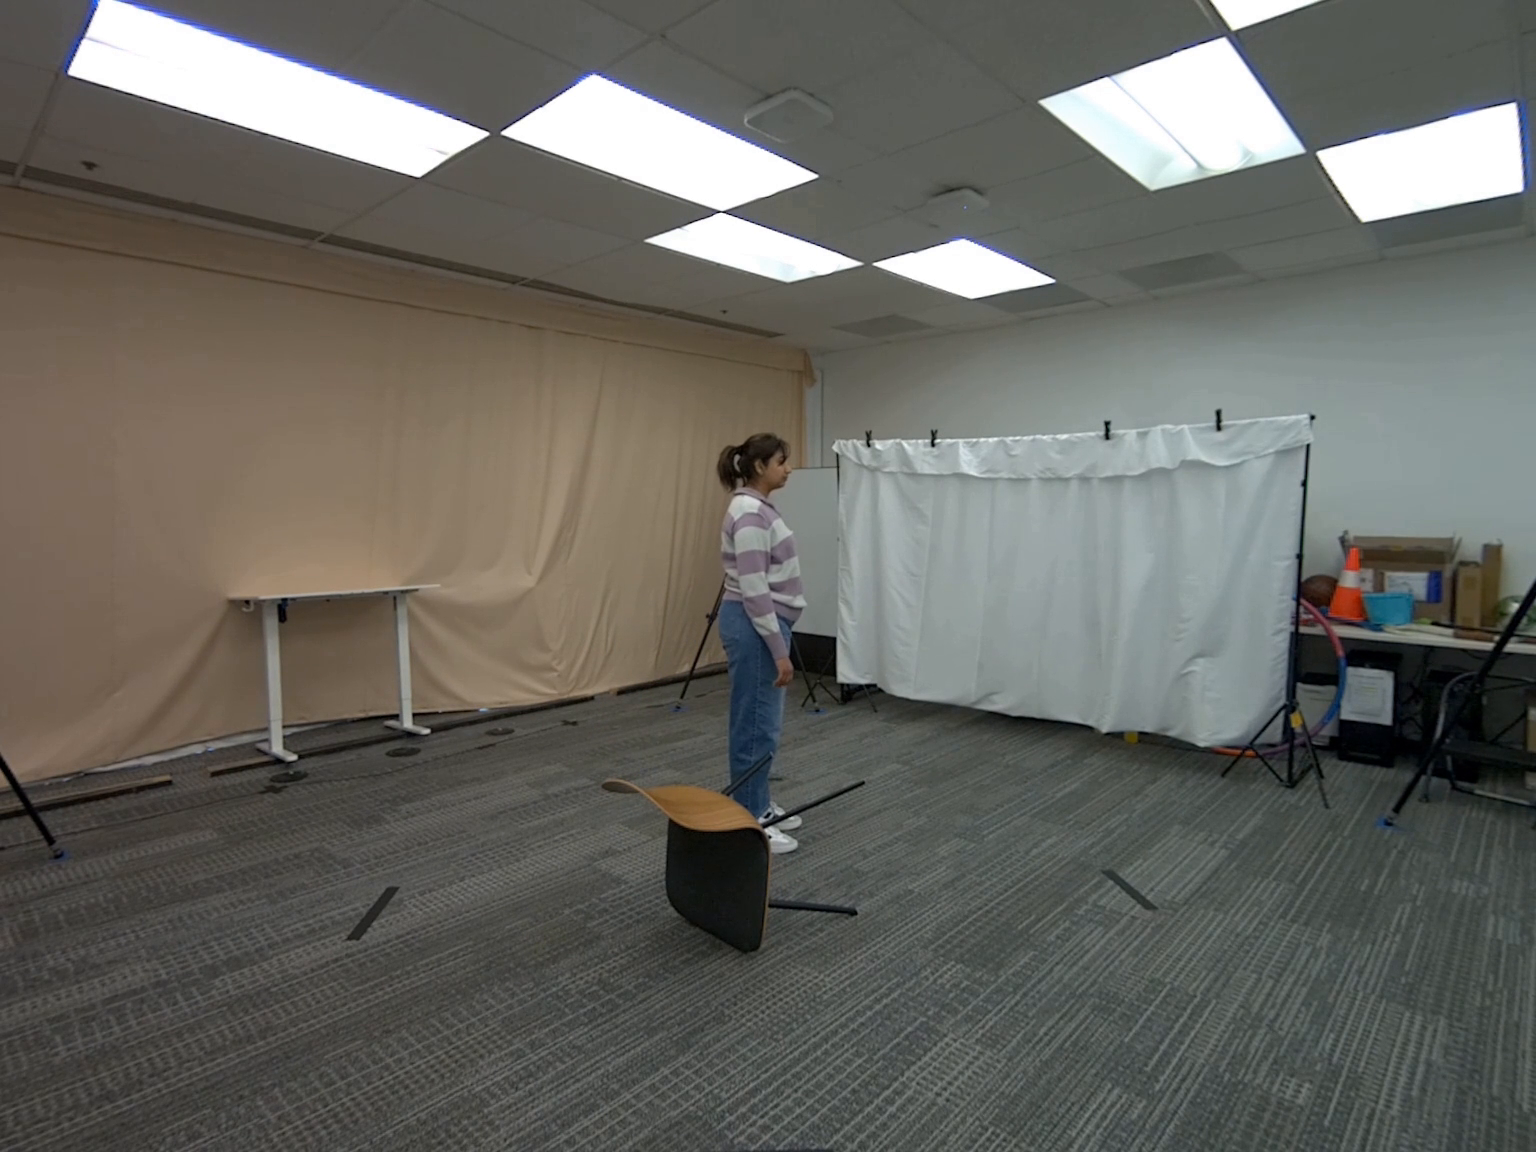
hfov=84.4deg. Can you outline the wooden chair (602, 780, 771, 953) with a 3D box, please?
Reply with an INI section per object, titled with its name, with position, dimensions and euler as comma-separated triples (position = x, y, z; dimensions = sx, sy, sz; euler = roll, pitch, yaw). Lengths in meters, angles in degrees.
[wooden chair]
position = -0.137, 0.909, 2.741
dimensions = 0.494, 0.524, 0.847
euler = 5, -3, 45
